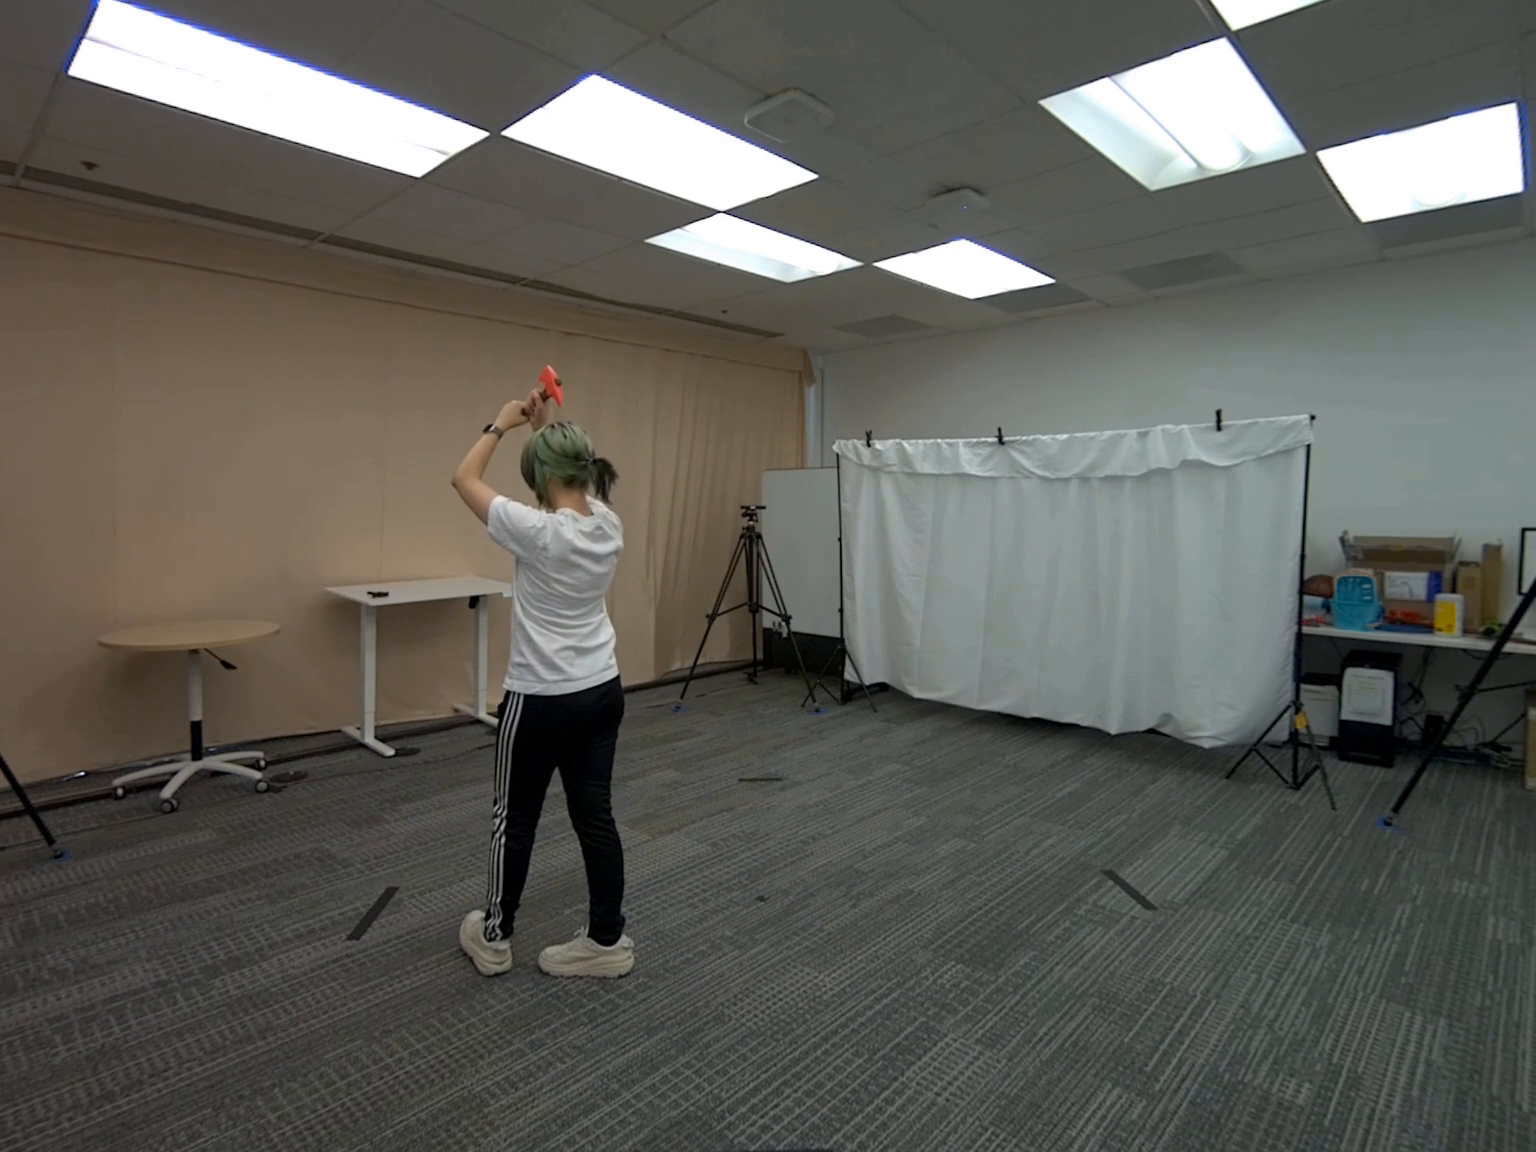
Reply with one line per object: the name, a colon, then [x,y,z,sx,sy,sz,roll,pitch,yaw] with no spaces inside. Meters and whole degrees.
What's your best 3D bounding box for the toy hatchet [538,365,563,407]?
toy hatchet: [-0.713,-0.556,2.532,0.278,0.131,0.029,-4,1,37]
